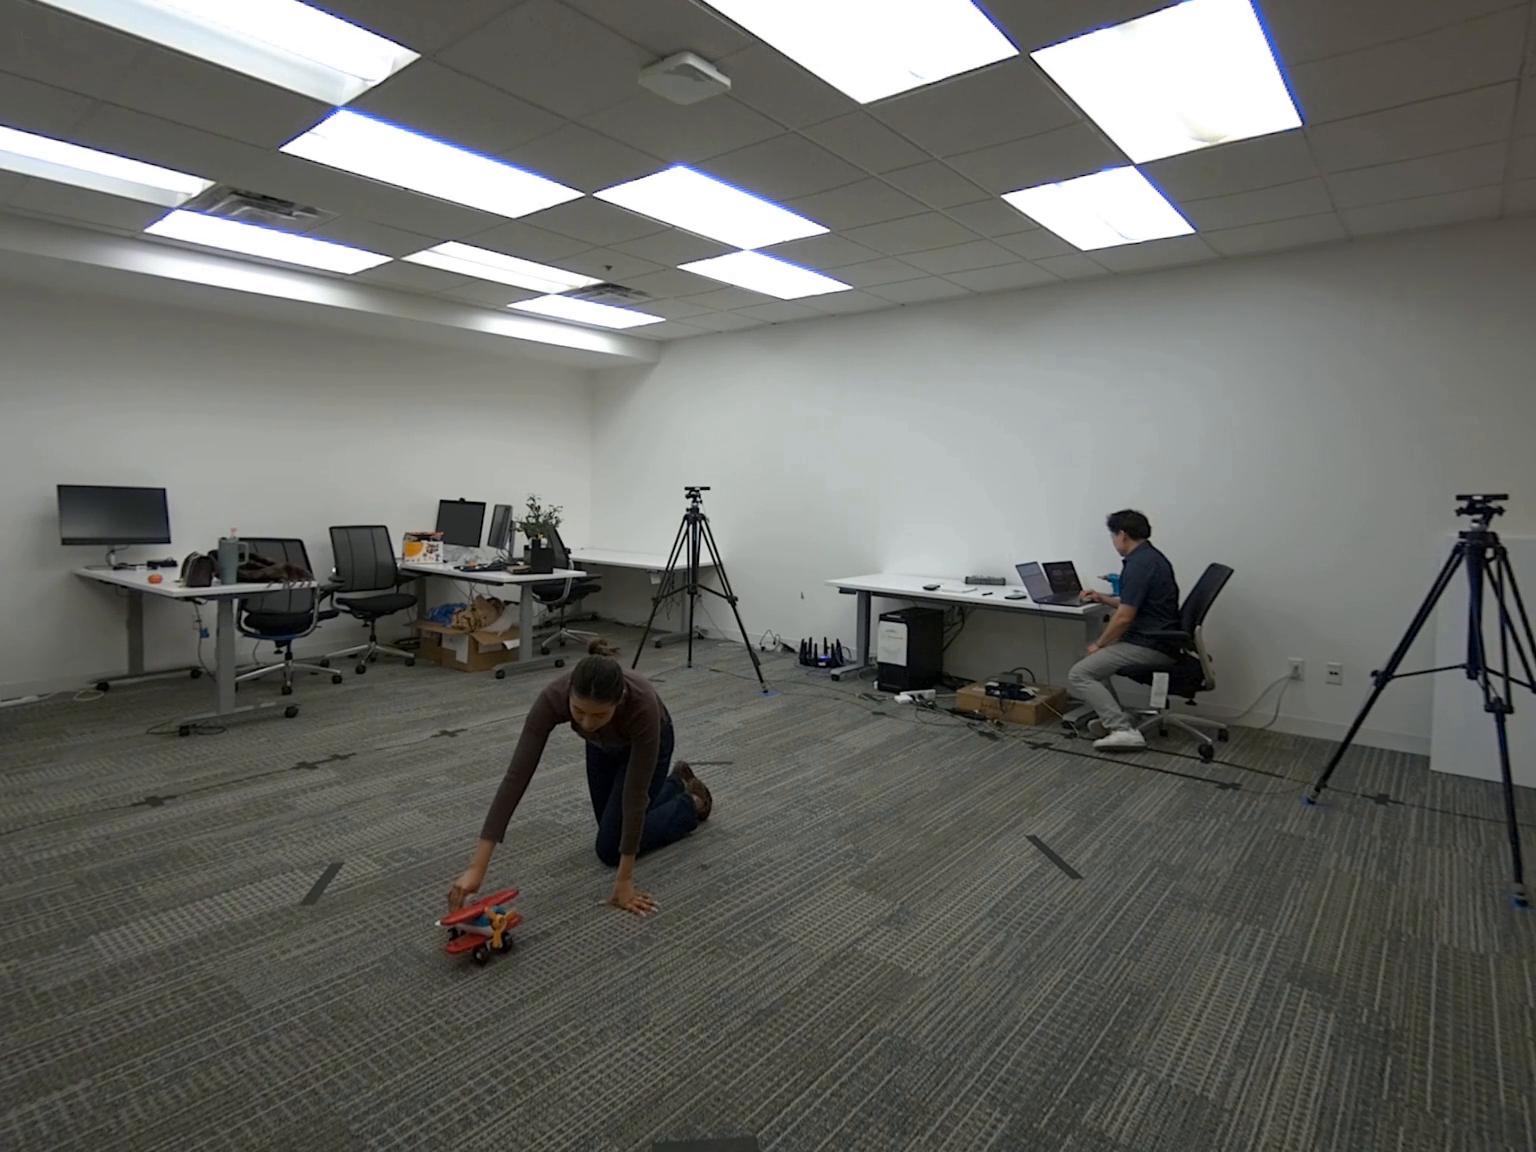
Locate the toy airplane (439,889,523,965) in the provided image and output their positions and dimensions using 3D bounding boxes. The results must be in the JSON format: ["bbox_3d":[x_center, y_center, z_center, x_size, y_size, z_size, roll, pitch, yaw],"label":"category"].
[{"bbox_3d":[-0.898,1.045,2.535,0.262,0.156,0.249,3,6,10],"label":"toy airplane"}]
